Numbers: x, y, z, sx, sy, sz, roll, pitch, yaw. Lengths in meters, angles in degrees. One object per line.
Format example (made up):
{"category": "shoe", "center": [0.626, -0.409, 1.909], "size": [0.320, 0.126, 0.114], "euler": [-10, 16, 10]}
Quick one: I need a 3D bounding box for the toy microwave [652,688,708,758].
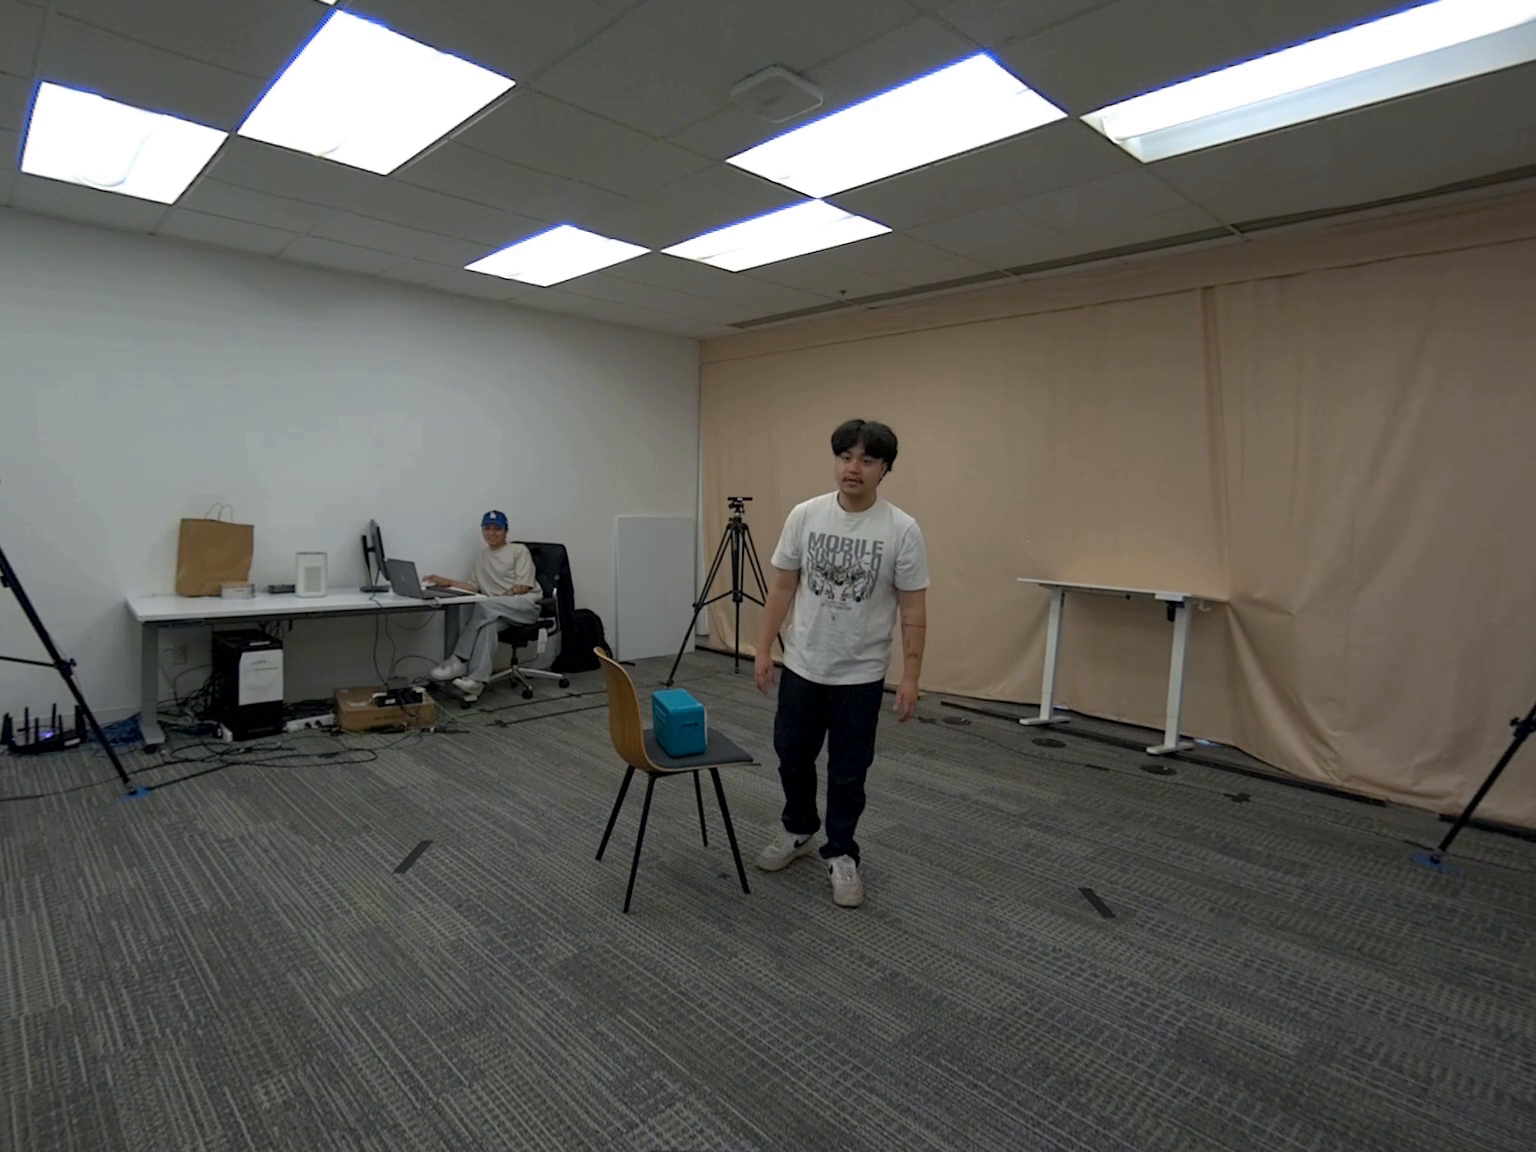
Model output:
{"category": "toy microwave", "center": [-0.326, 0.528, 3.070], "size": [0.150, 0.183, 0.291], "euler": [-4, 6, -20]}
